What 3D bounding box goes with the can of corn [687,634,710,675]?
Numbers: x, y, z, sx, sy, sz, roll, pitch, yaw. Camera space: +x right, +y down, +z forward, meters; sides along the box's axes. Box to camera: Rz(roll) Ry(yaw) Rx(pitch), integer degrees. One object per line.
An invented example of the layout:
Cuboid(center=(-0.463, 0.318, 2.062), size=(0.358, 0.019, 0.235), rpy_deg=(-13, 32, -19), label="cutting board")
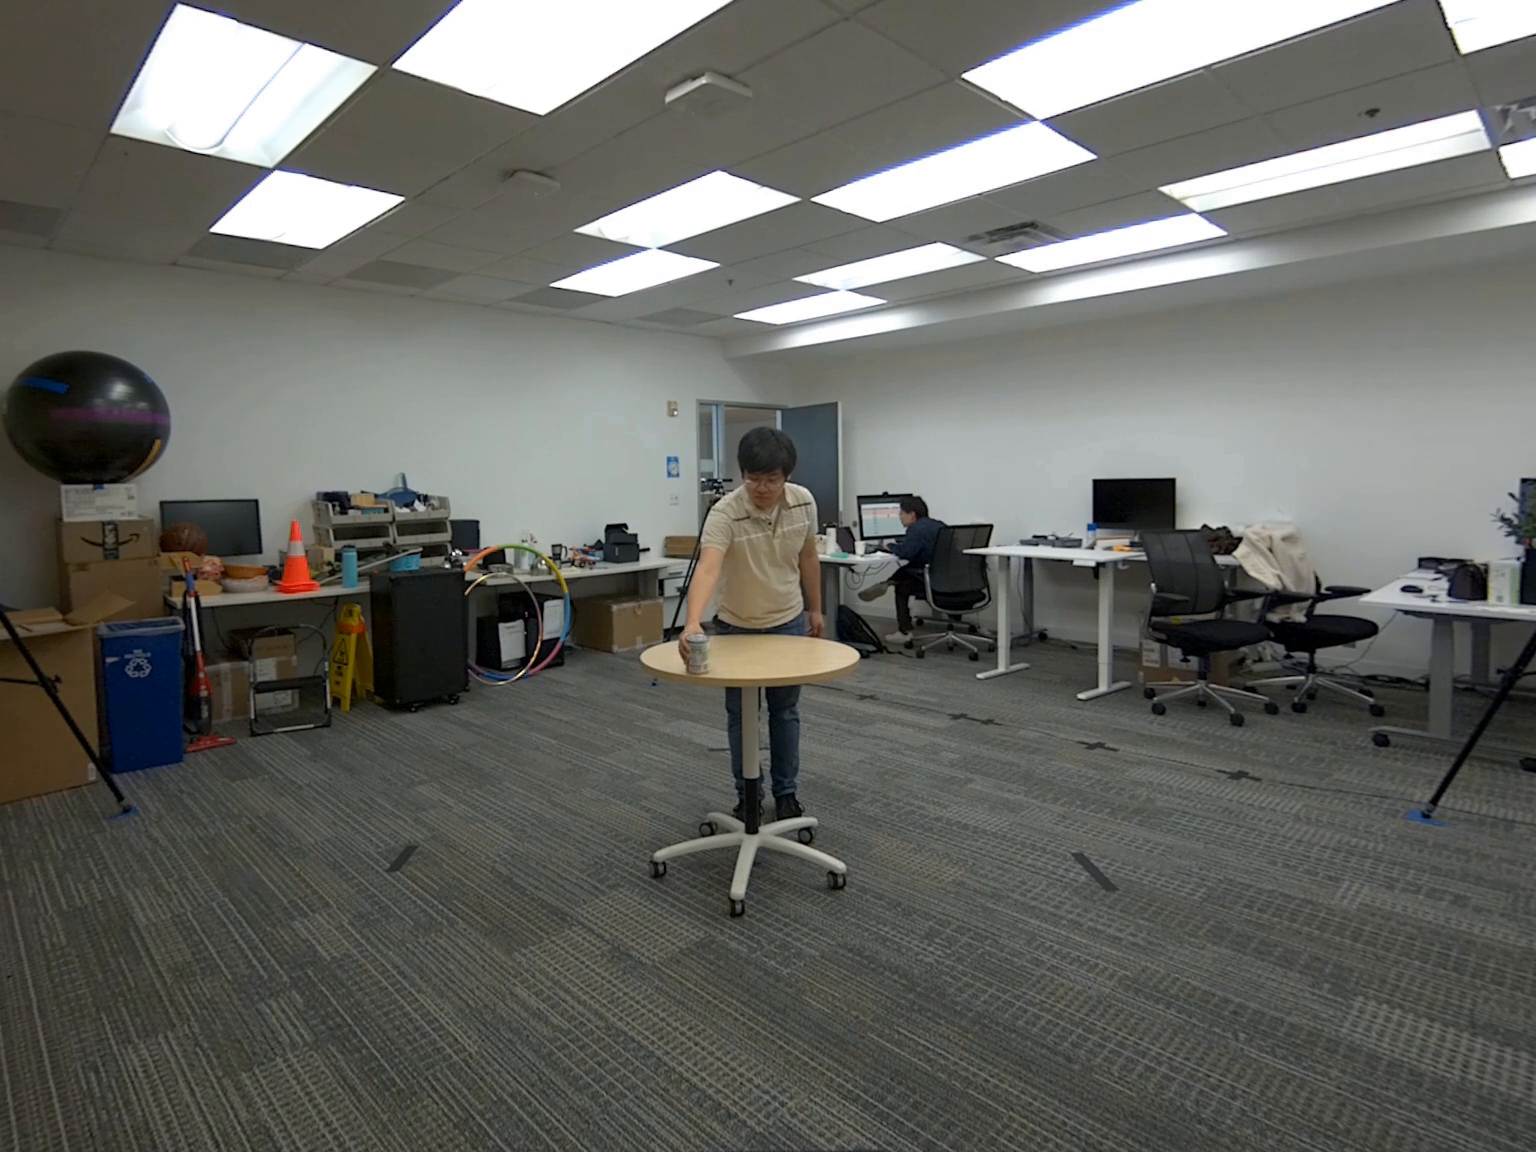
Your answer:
Cuboid(center=(-0.227, 0.250, 2.692), size=(0.074, 0.110, 0.075), rpy_deg=(1, 11, -2), label="can of corn")
